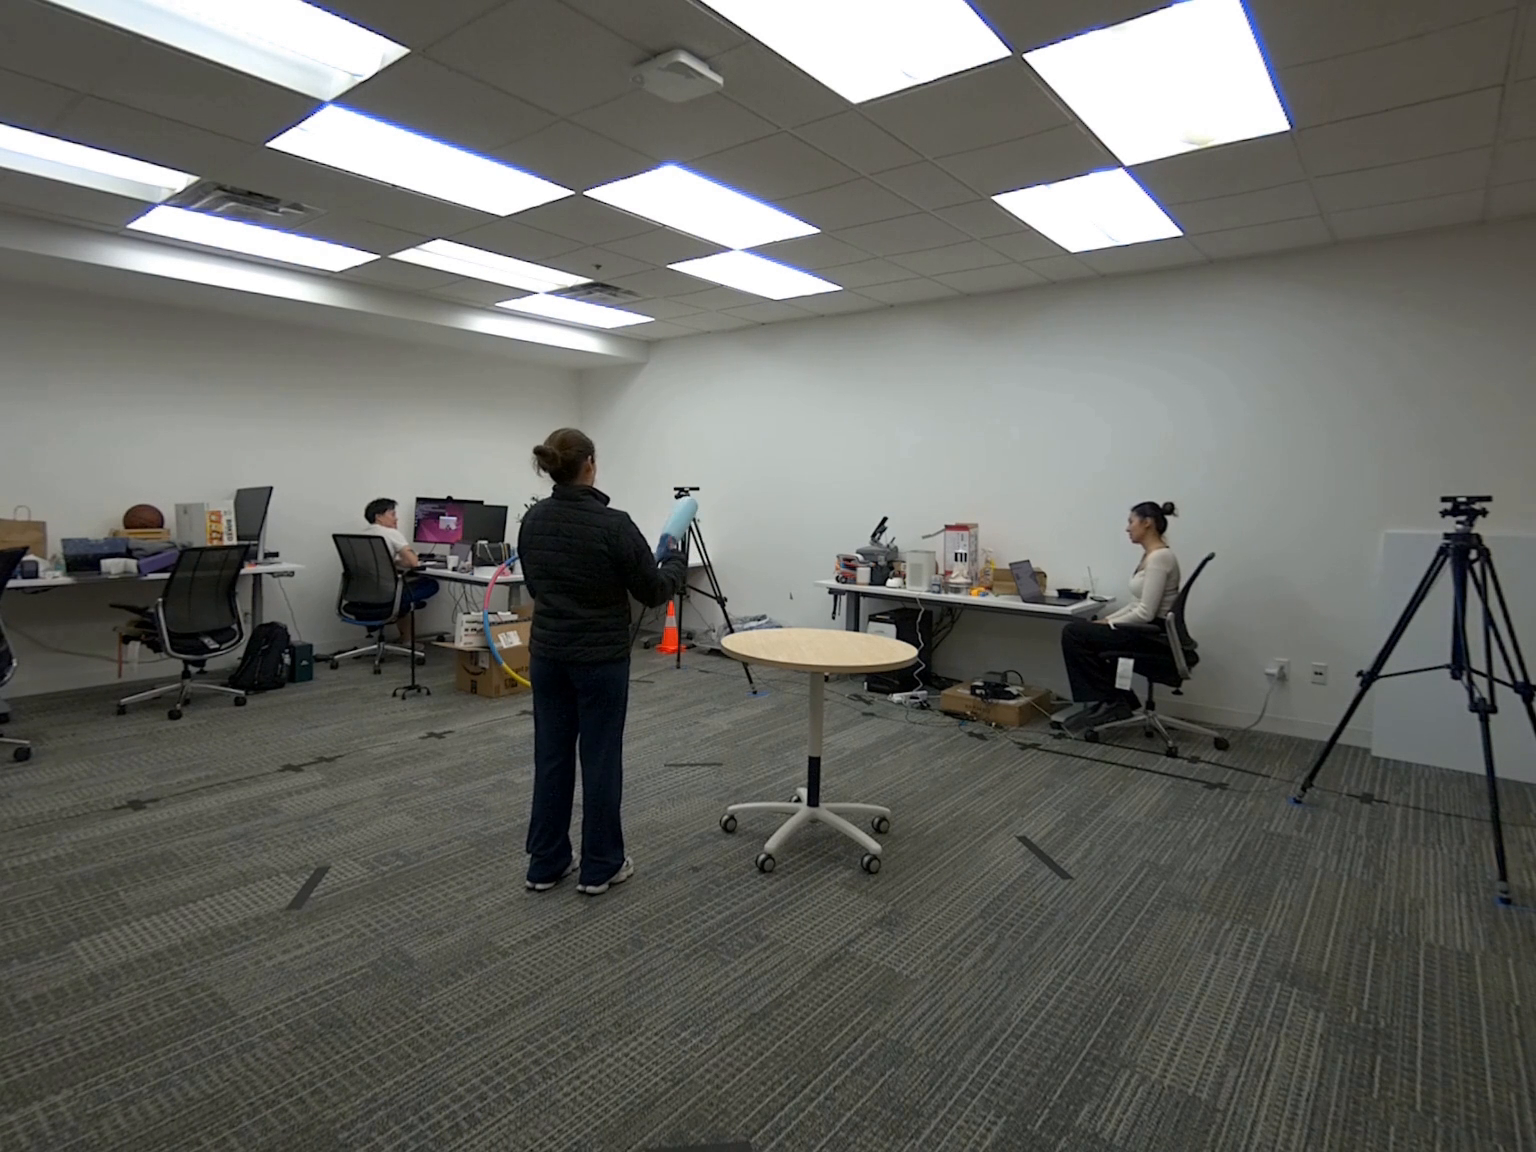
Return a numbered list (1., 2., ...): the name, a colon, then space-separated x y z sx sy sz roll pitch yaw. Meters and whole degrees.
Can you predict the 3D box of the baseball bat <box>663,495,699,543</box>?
1. baseball bat: -0.392 -0.130 3.281 0.091 0.086 0.550 1 40 18
